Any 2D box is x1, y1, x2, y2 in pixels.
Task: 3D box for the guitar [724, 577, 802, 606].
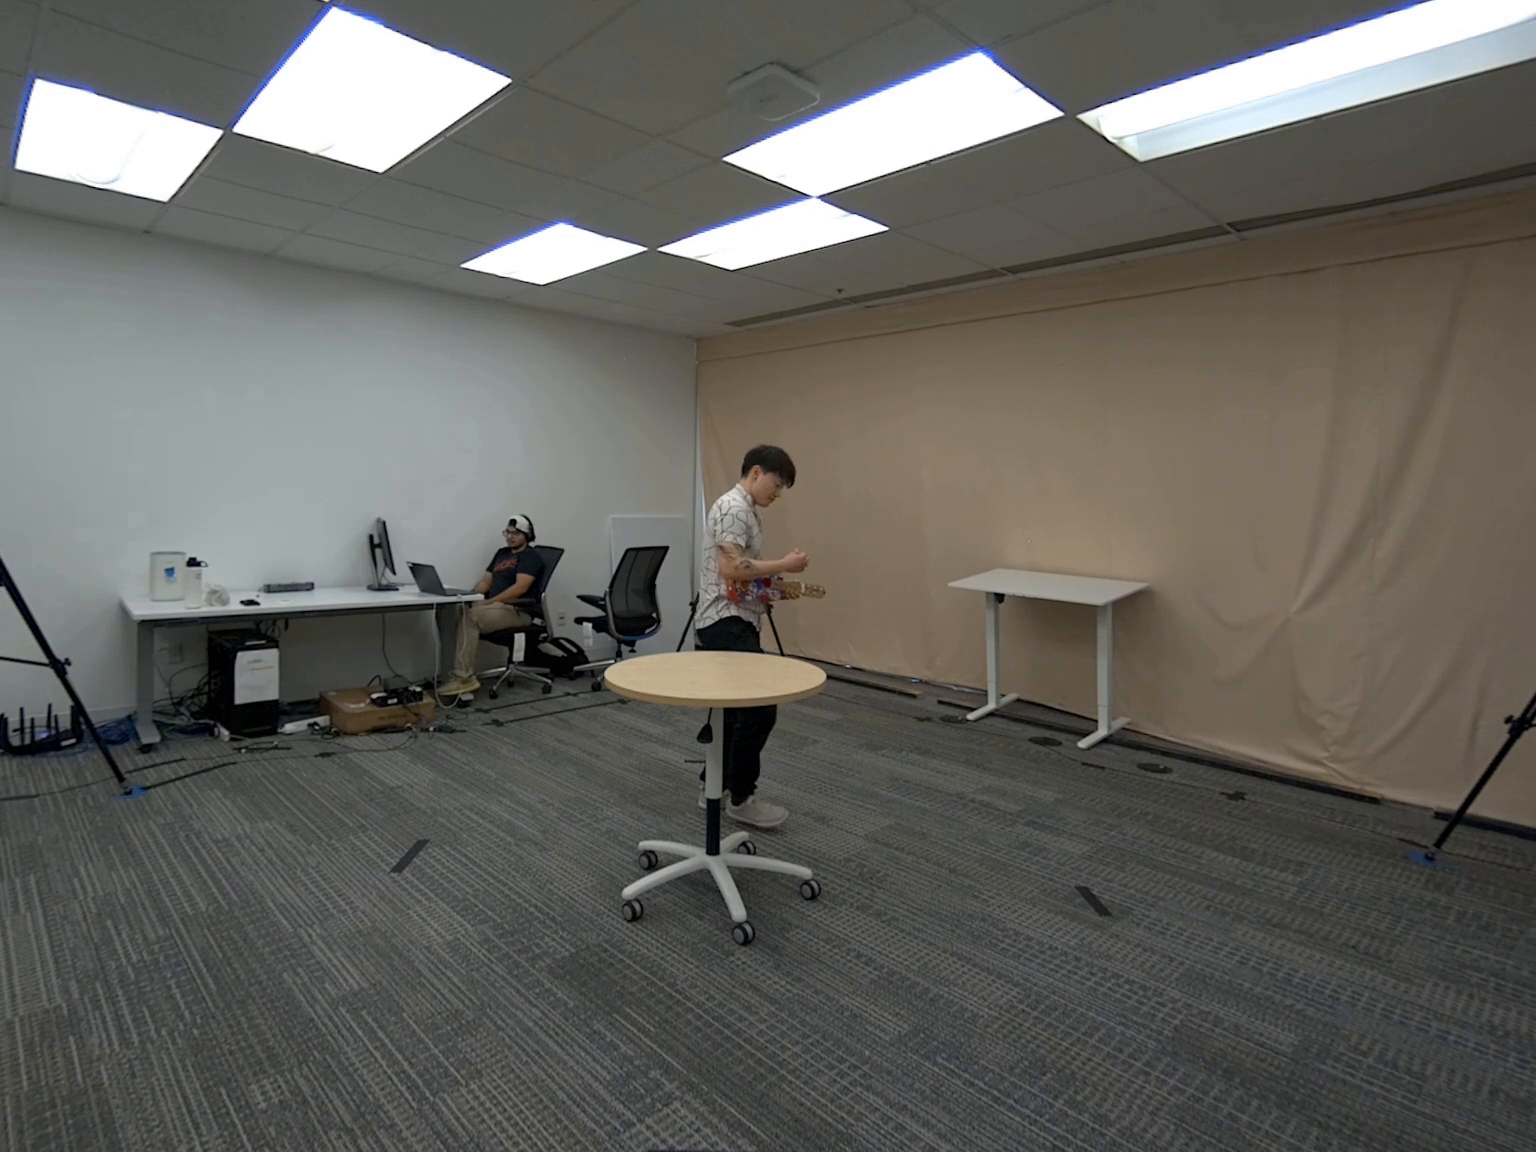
[{"bbox_3d":[0.031,0.069,3.675,0.485,0.195,0.072,20,-24,-30],"label":"guitar"}]
